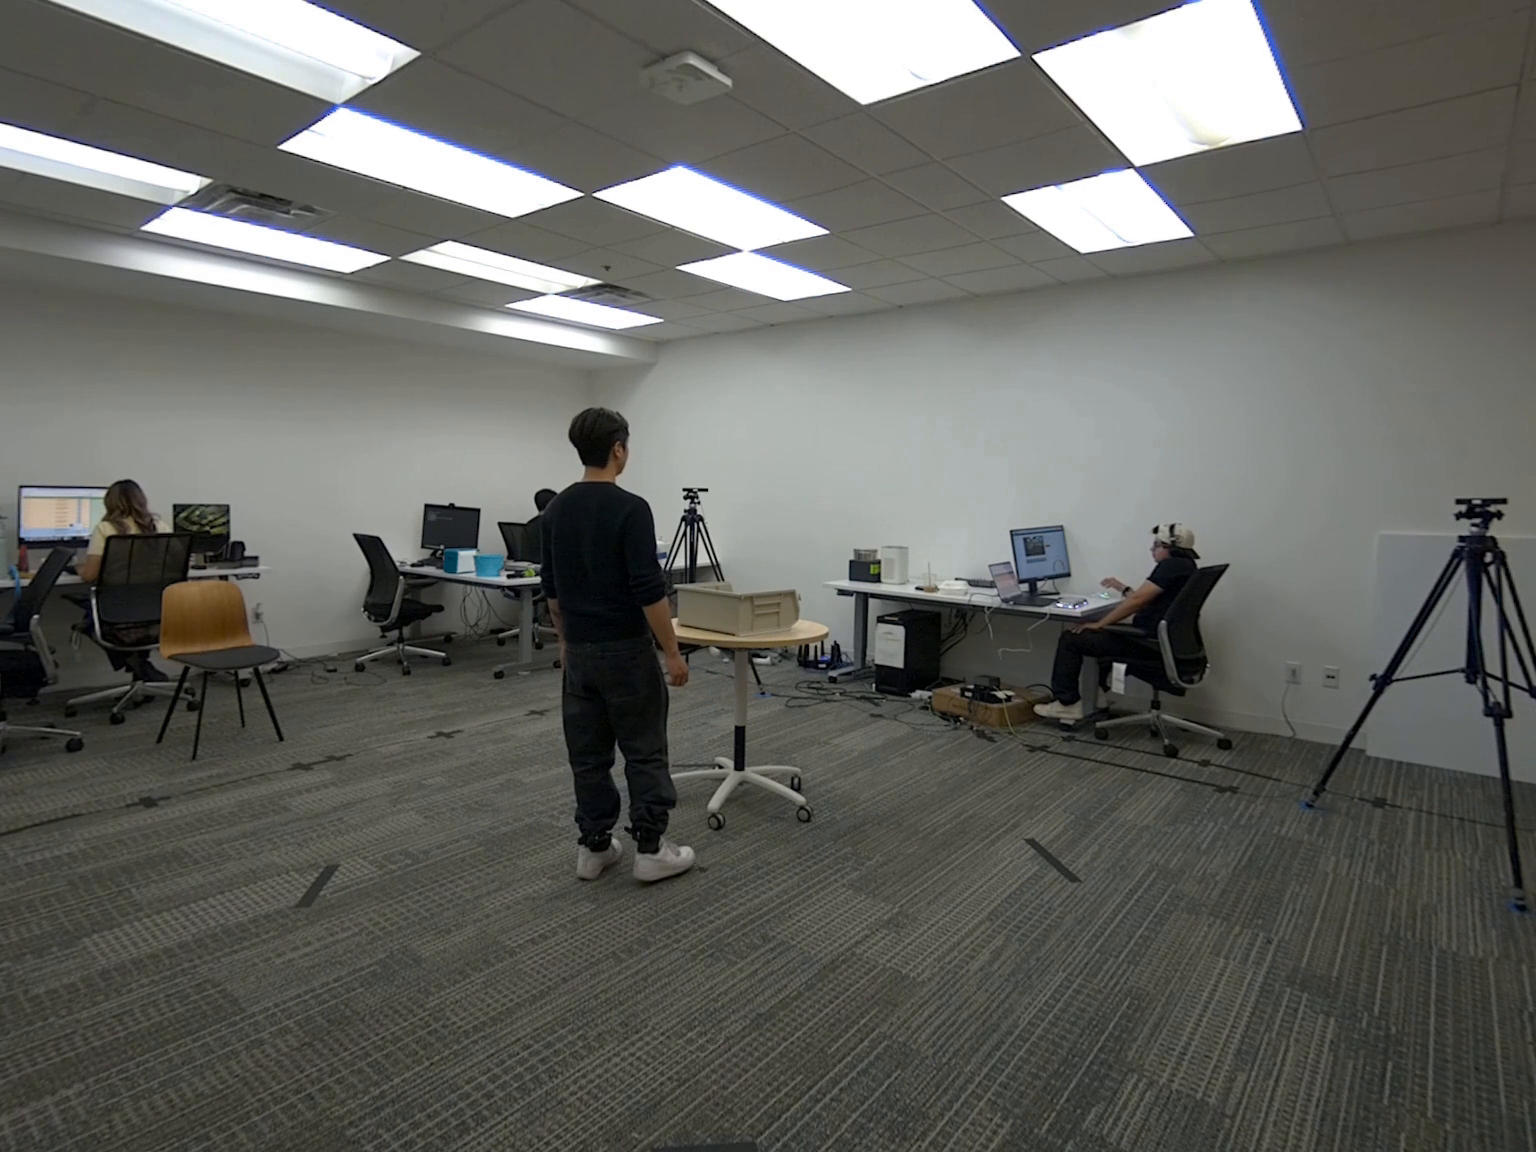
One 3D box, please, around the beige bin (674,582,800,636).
[{"bbox_3d":[-0.152,0.133,3.748,0.437,0.188,0.366,6,8,44],"label":"beige bin"}]
